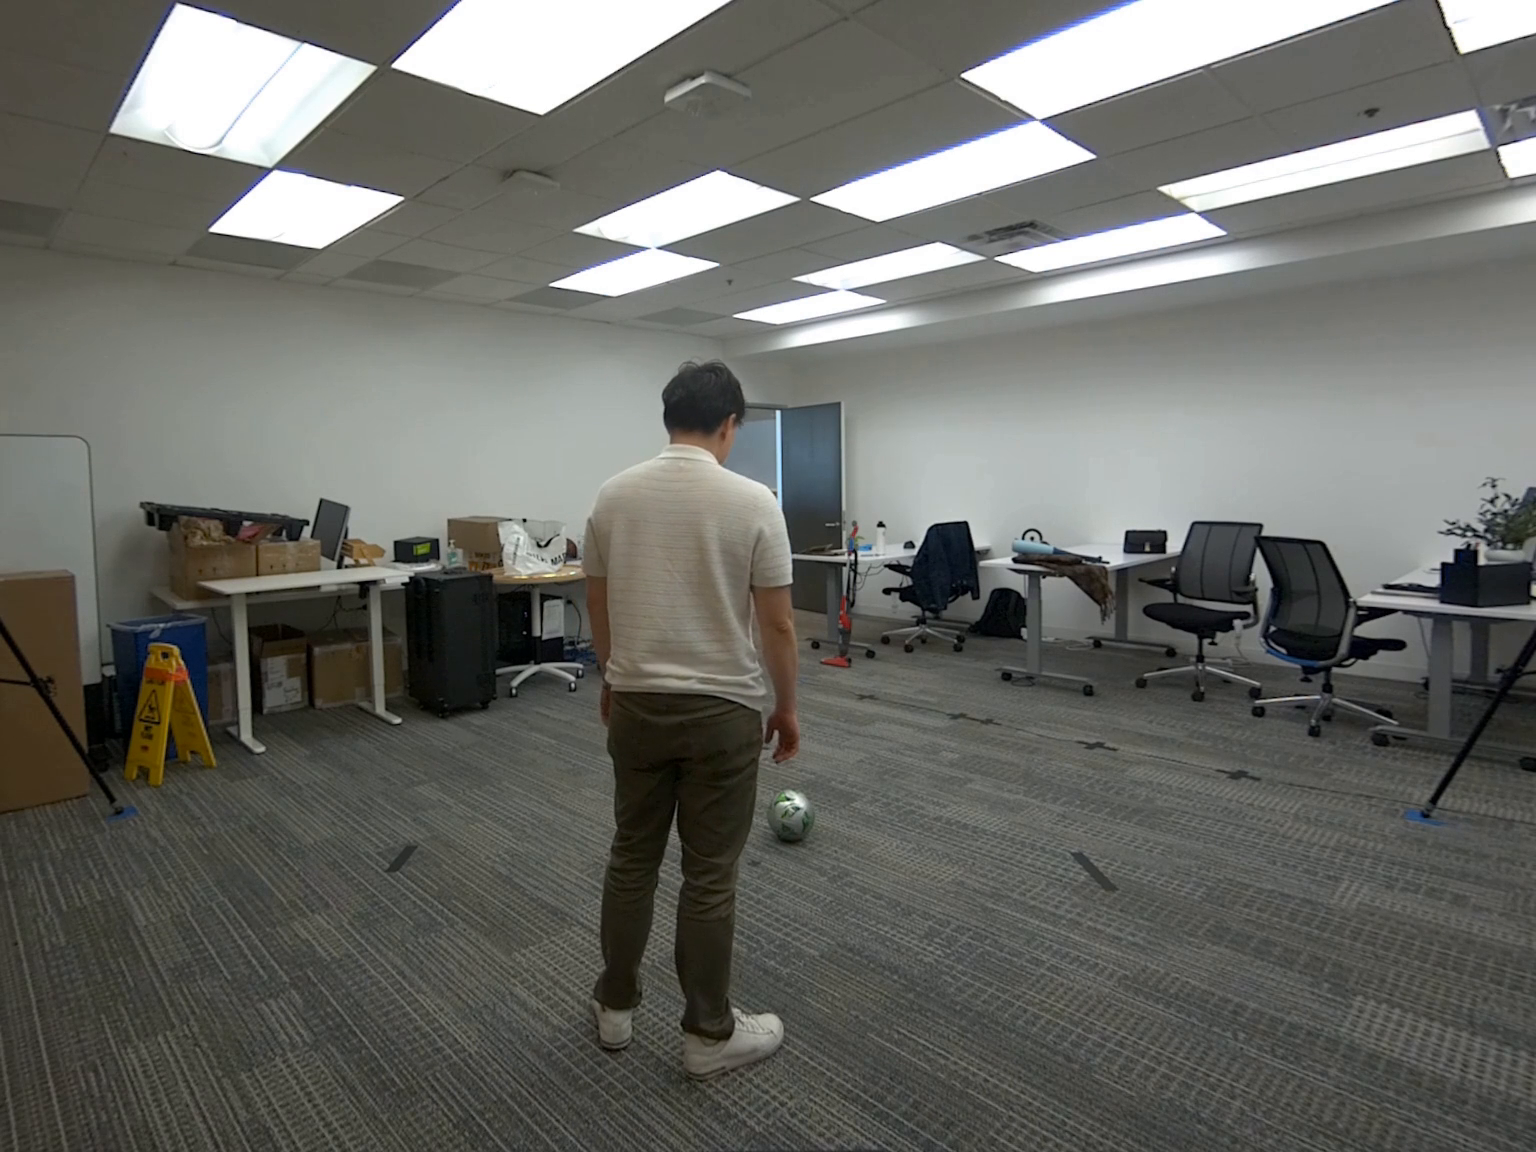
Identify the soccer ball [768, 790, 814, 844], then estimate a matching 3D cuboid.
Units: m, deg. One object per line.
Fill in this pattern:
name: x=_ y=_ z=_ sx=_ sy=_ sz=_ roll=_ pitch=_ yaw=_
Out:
soccer ball: x=0.087 y=0.919 z=3.310 sx=0.187 sy=0.187 sz=0.188 roll=-1 pitch=5 yaw=-2
